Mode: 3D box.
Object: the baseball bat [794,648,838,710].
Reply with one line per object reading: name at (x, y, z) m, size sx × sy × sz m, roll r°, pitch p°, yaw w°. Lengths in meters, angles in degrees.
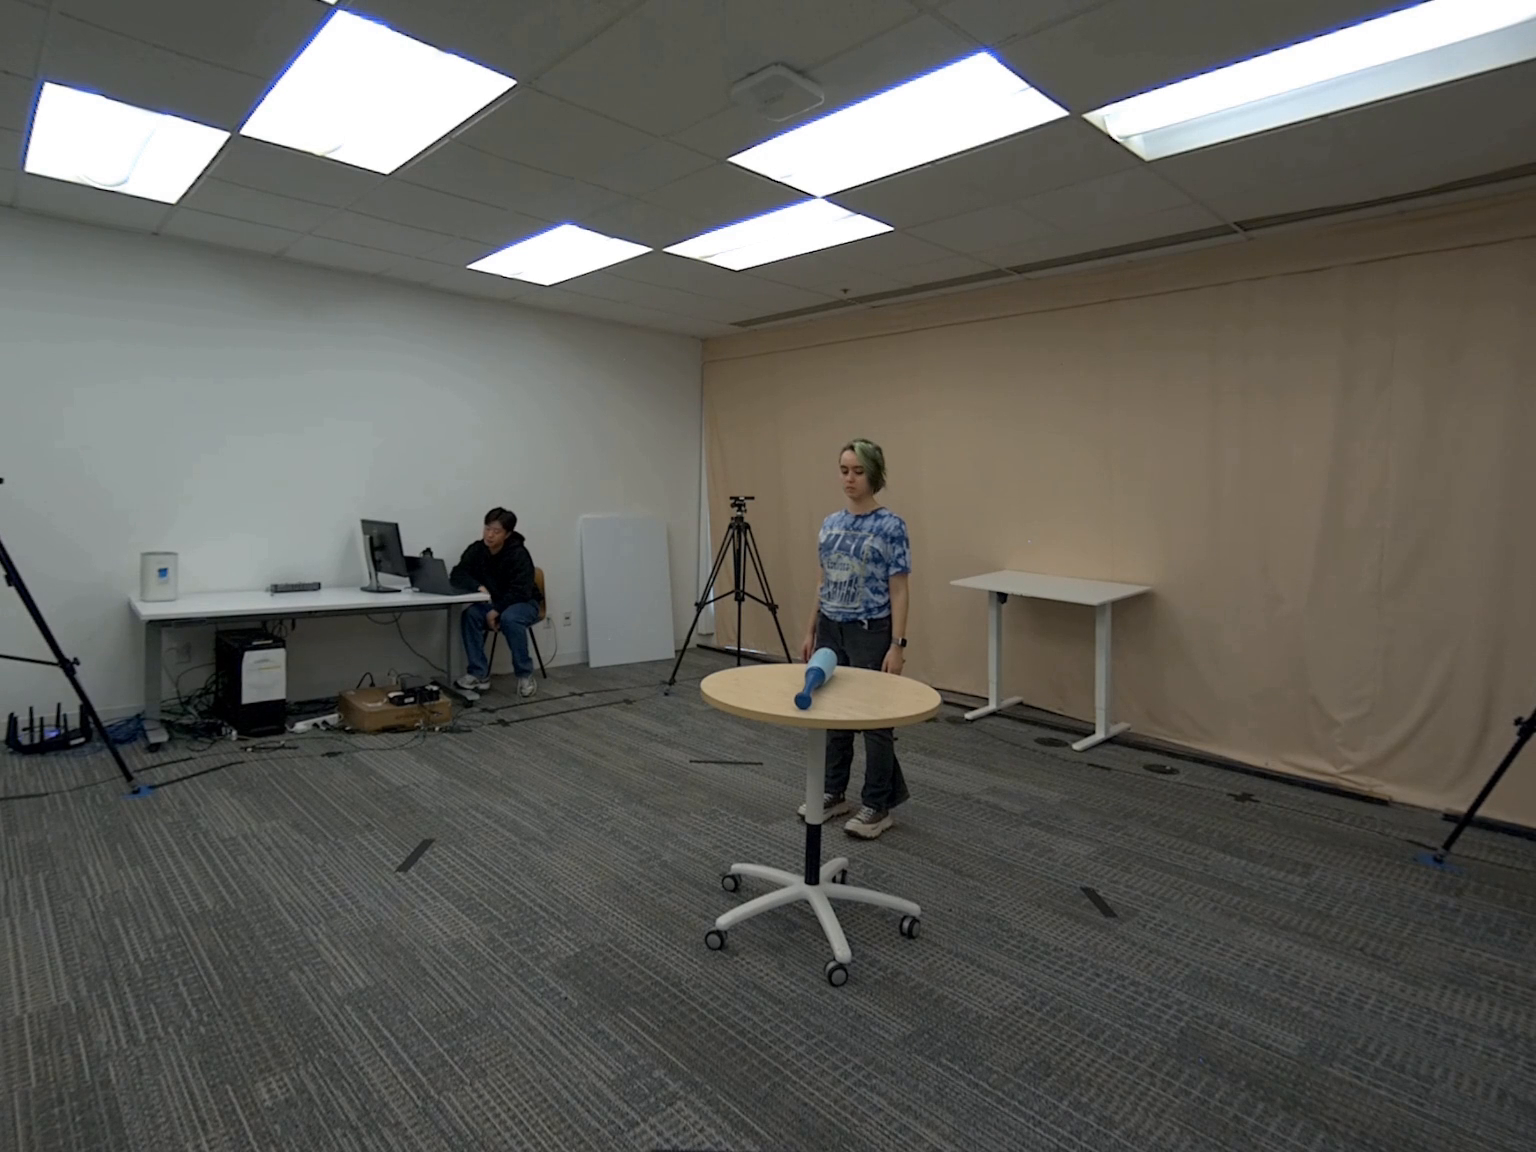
baseball bat at (0.145, 0.330, 2.675) m, size 0.090 × 0.088 × 0.541 m, roll 2°, pitch 8°, yaw 8°
